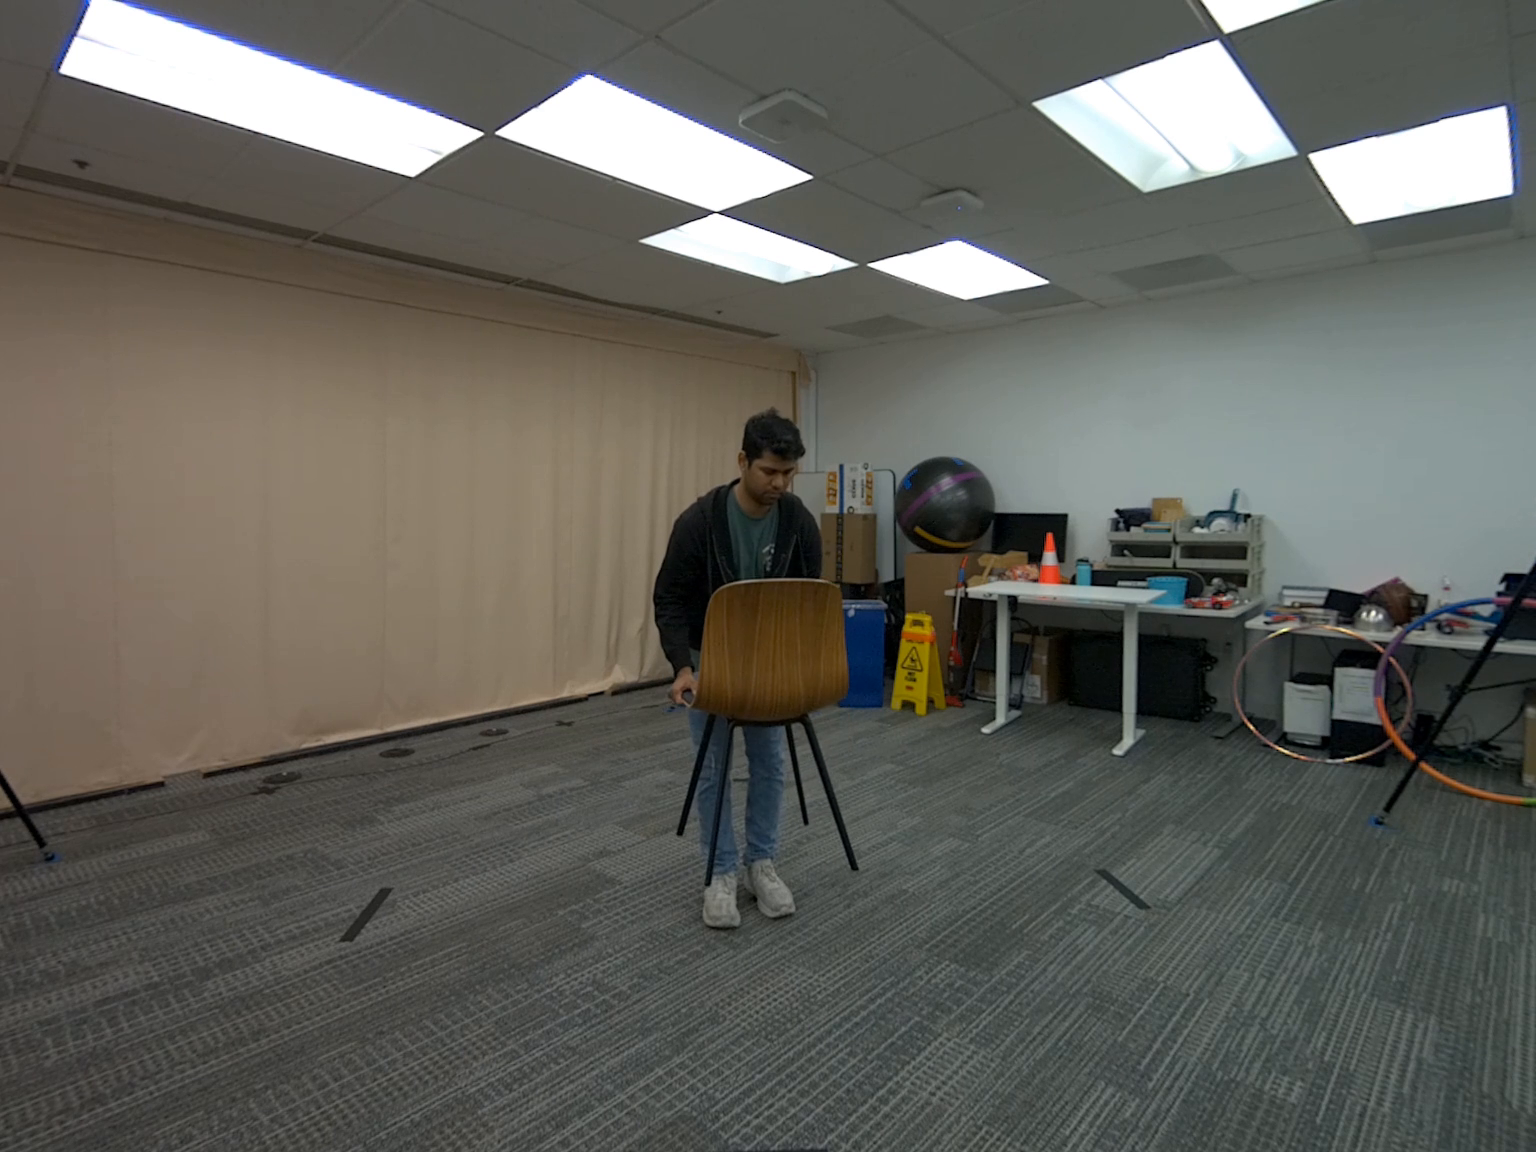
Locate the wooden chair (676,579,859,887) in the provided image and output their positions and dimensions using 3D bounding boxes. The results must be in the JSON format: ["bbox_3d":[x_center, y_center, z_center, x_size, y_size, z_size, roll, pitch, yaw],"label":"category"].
[{"bbox_3d":[-0.031,0.429,2.591,0.471,0.875,0.532,-3,4,-16],"label":"wooden chair"}]
